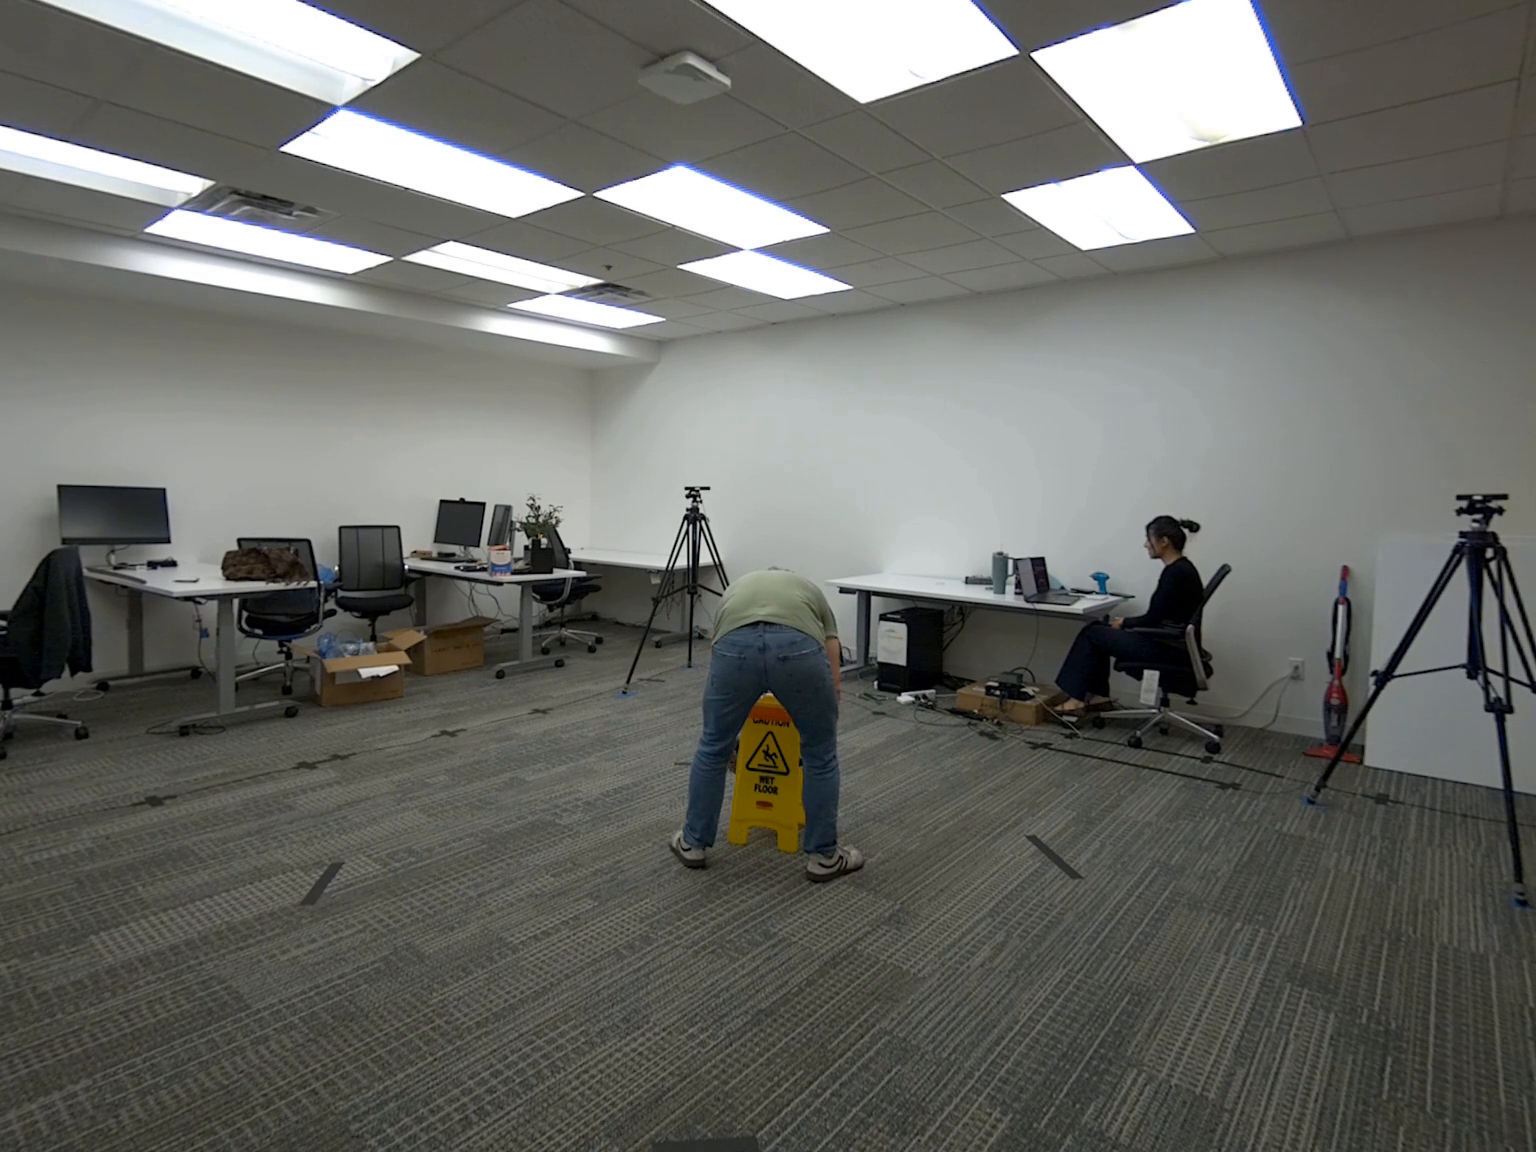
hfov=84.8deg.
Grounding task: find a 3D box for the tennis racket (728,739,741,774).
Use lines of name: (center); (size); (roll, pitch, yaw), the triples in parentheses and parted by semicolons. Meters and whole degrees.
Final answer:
tennis racket: (-0.012, 0.810, 3.360); (0.031, 0.207, 0.451); (-32, 42, -33)
